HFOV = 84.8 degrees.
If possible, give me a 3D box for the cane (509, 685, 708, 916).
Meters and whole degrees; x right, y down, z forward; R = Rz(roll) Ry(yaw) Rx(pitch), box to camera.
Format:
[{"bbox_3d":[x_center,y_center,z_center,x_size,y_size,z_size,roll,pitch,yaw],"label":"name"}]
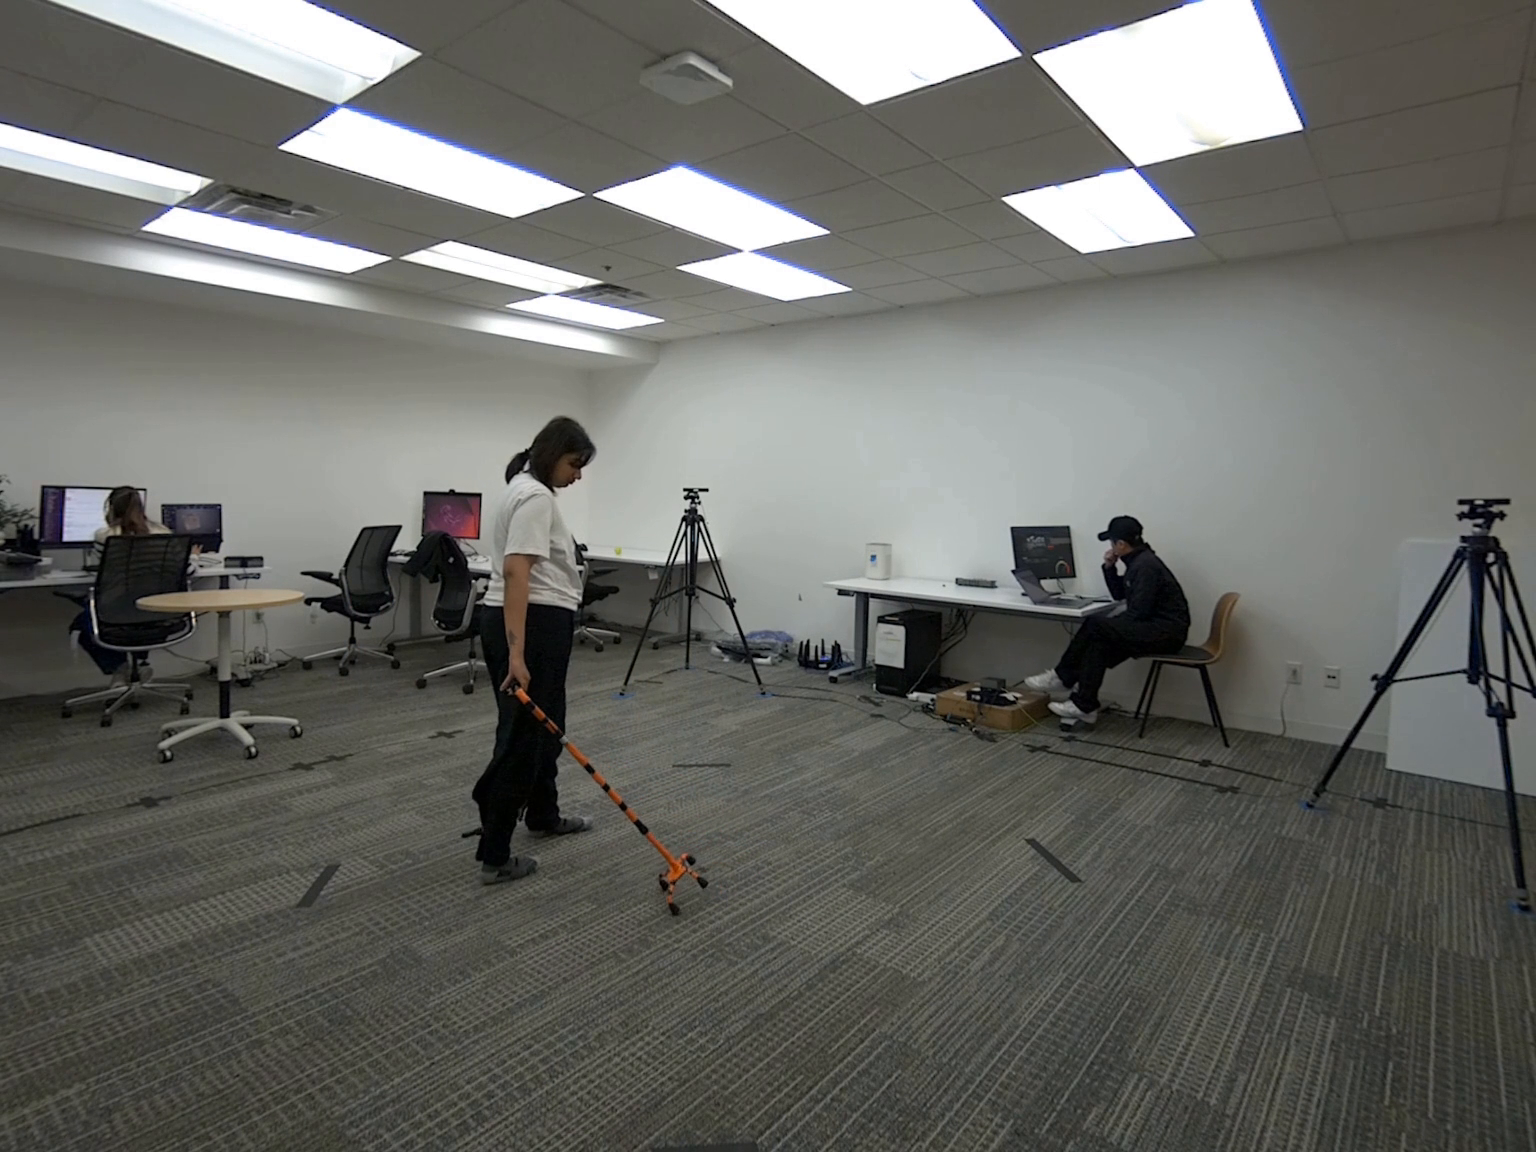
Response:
[{"bbox_3d":[-0.553,0.699,2.781,0.151,0.893,0.210,-40,12,-9],"label":"cane"}]
